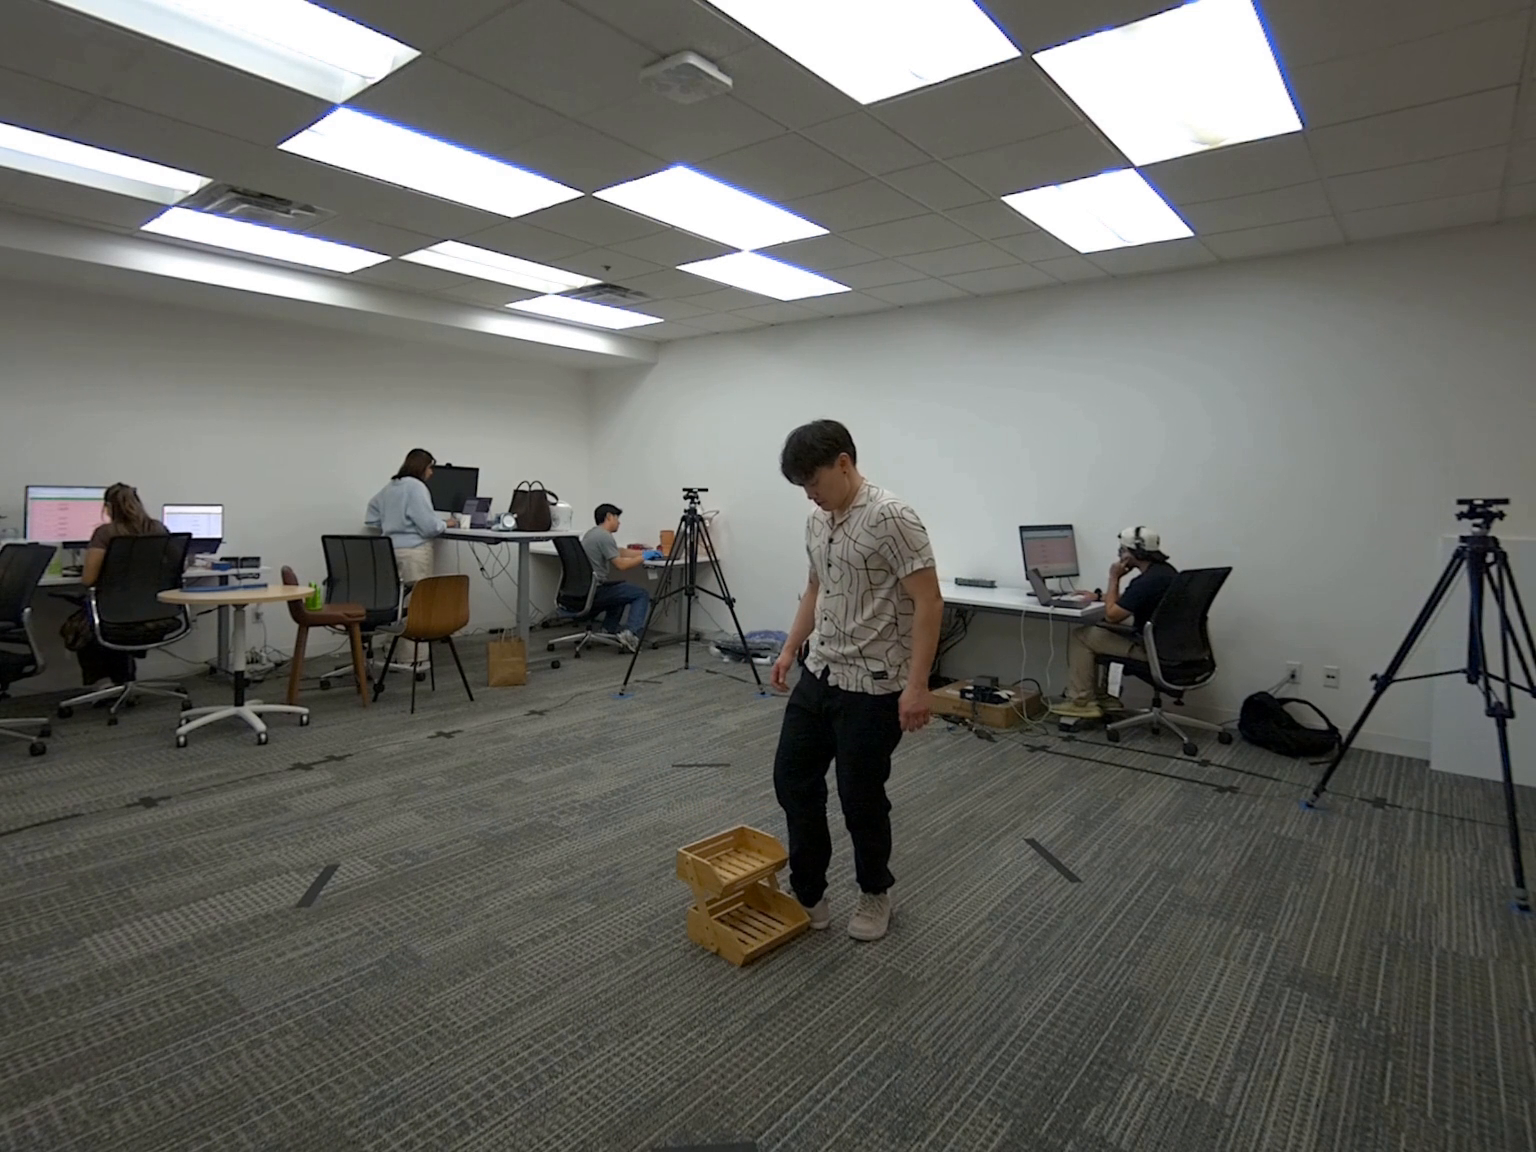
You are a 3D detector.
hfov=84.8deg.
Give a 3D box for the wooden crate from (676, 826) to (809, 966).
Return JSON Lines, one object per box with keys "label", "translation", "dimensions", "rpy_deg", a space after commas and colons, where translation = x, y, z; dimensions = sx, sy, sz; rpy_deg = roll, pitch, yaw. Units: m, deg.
{"label": "wooden crate", "translation": [-0.081, 0.979, 2.666], "dimensions": [0.312, 0.273, 0.314], "rpy_deg": [4, 5, 43]}
